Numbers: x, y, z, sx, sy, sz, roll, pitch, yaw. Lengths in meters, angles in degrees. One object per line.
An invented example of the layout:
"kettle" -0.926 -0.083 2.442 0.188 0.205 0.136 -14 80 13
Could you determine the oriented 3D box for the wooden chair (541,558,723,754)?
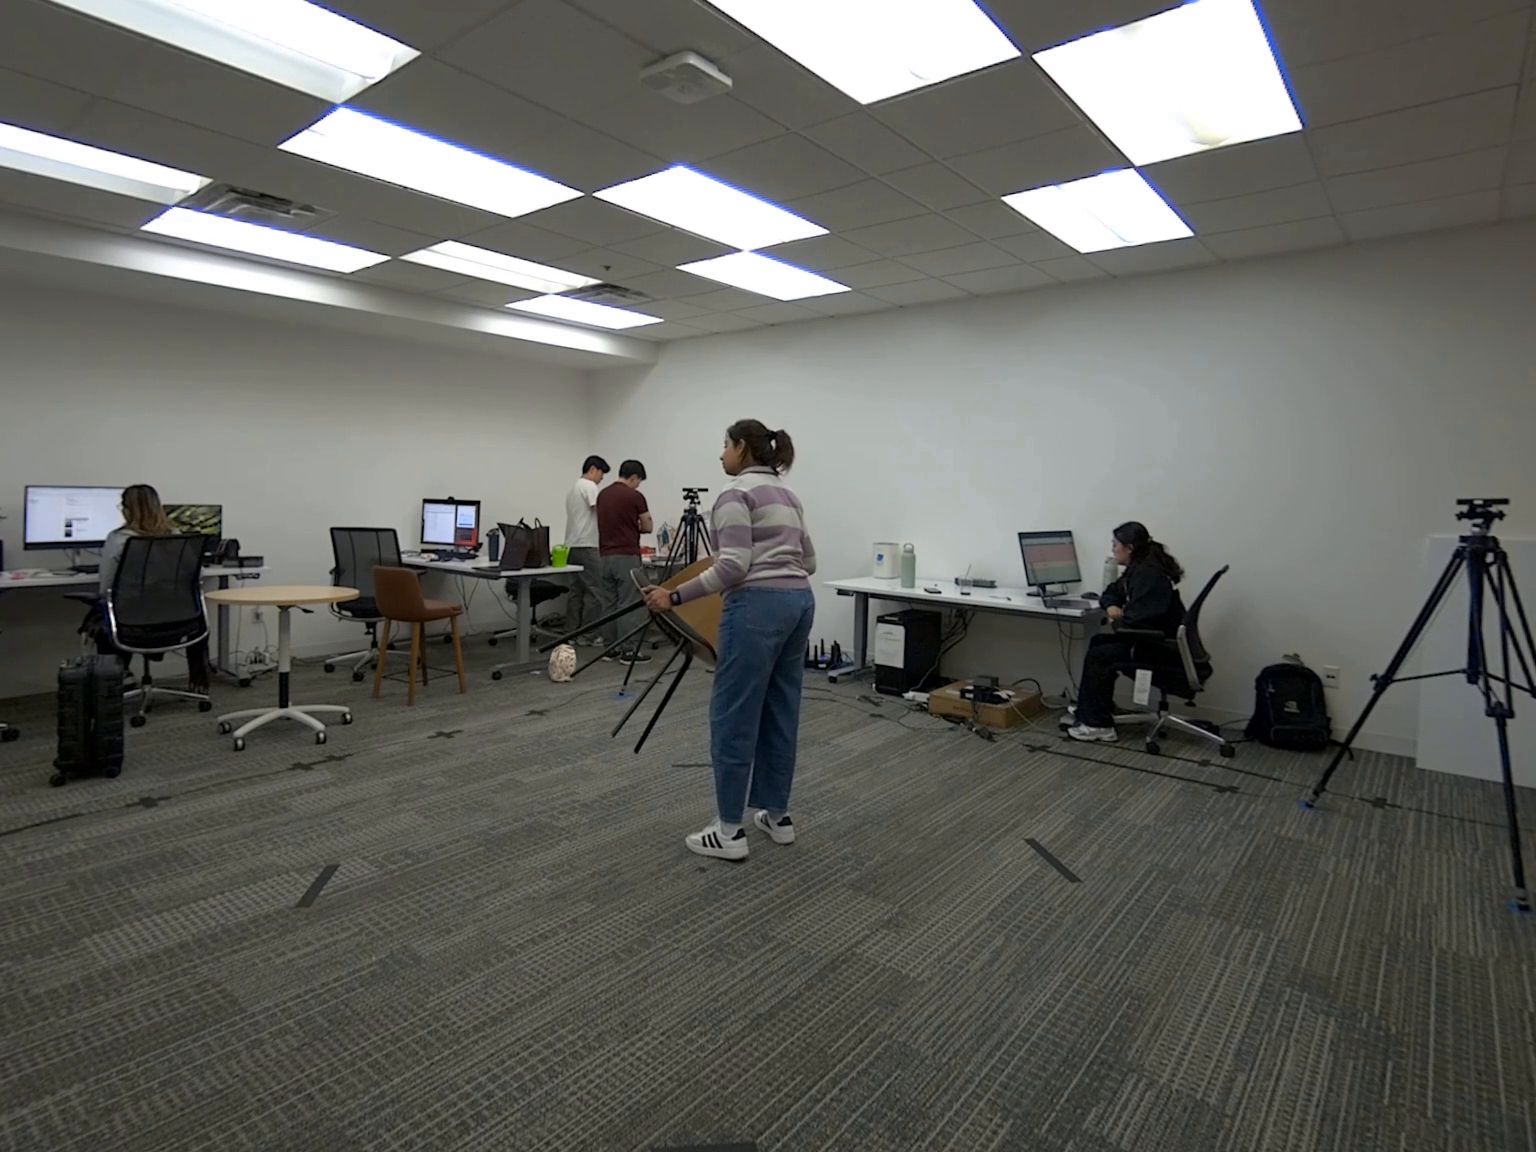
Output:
"wooden chair" -0.416 0.220 3.398 0.491 0.875 0.510 43 -15 18
